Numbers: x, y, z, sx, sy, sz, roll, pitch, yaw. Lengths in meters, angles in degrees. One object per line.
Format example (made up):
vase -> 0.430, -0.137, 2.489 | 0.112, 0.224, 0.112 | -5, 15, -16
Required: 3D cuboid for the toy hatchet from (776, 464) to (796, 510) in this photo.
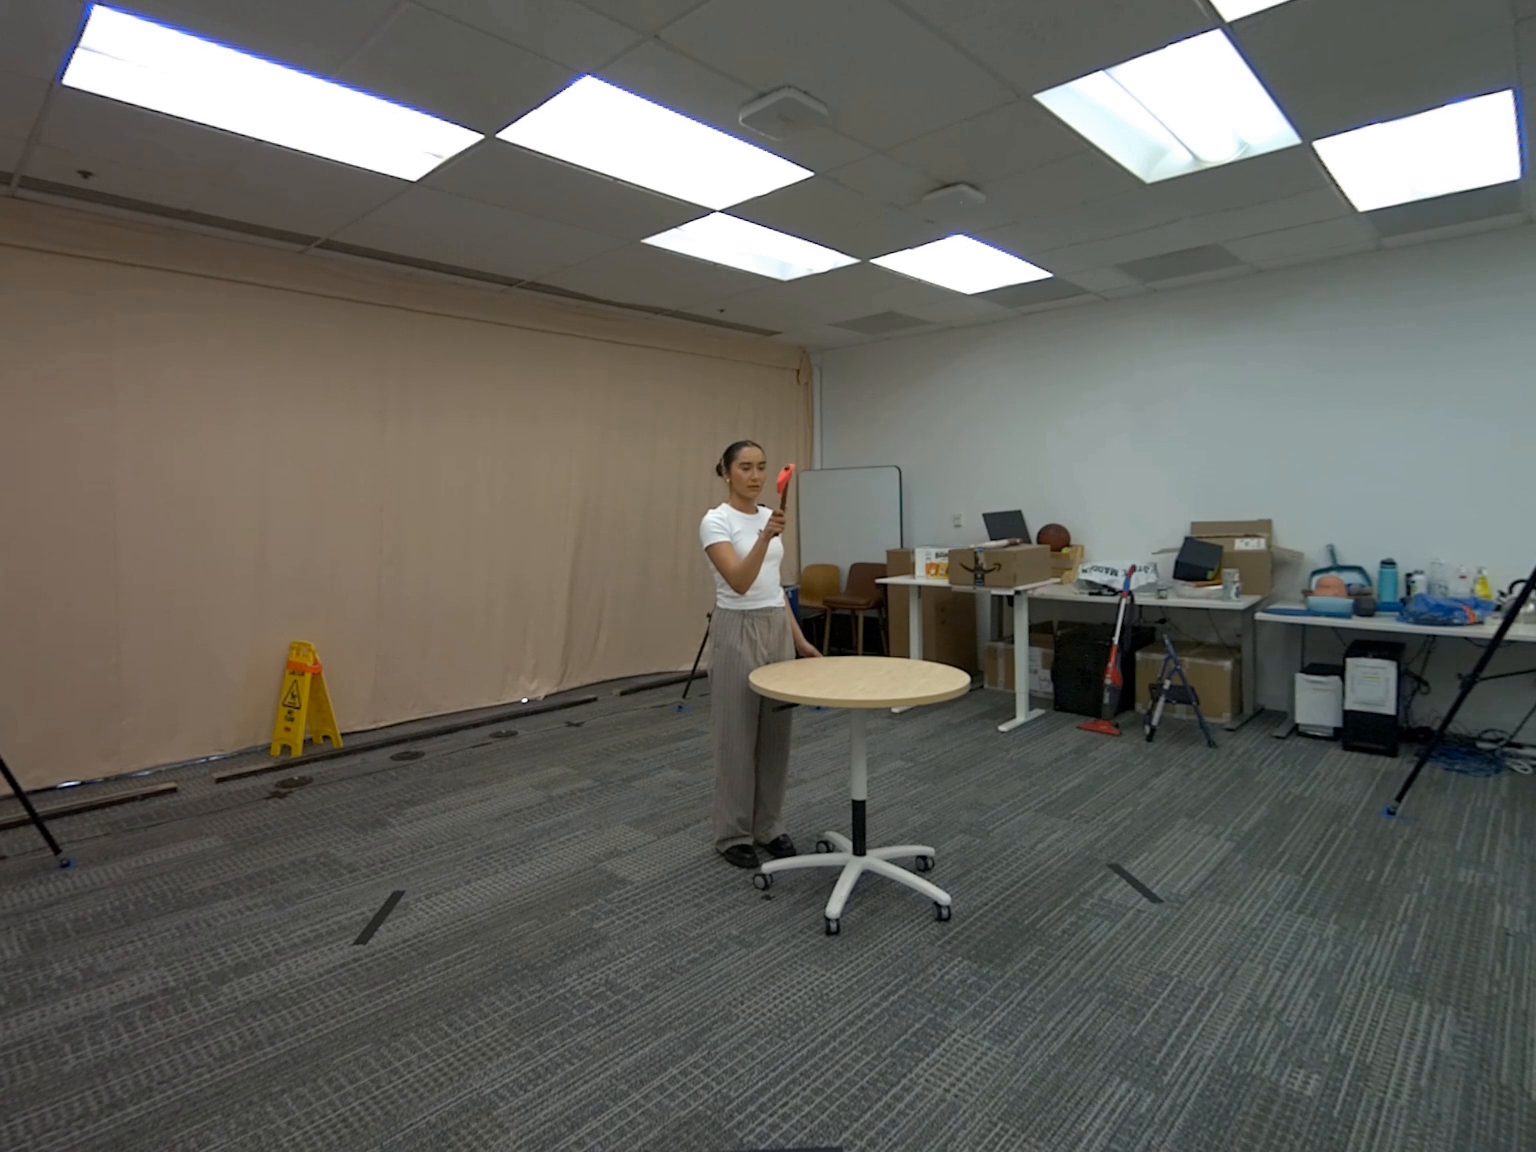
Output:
toy hatchet -> 0.049, -0.248, 2.877 | 0.030, 0.268, 0.130 | 16, 22, 11
